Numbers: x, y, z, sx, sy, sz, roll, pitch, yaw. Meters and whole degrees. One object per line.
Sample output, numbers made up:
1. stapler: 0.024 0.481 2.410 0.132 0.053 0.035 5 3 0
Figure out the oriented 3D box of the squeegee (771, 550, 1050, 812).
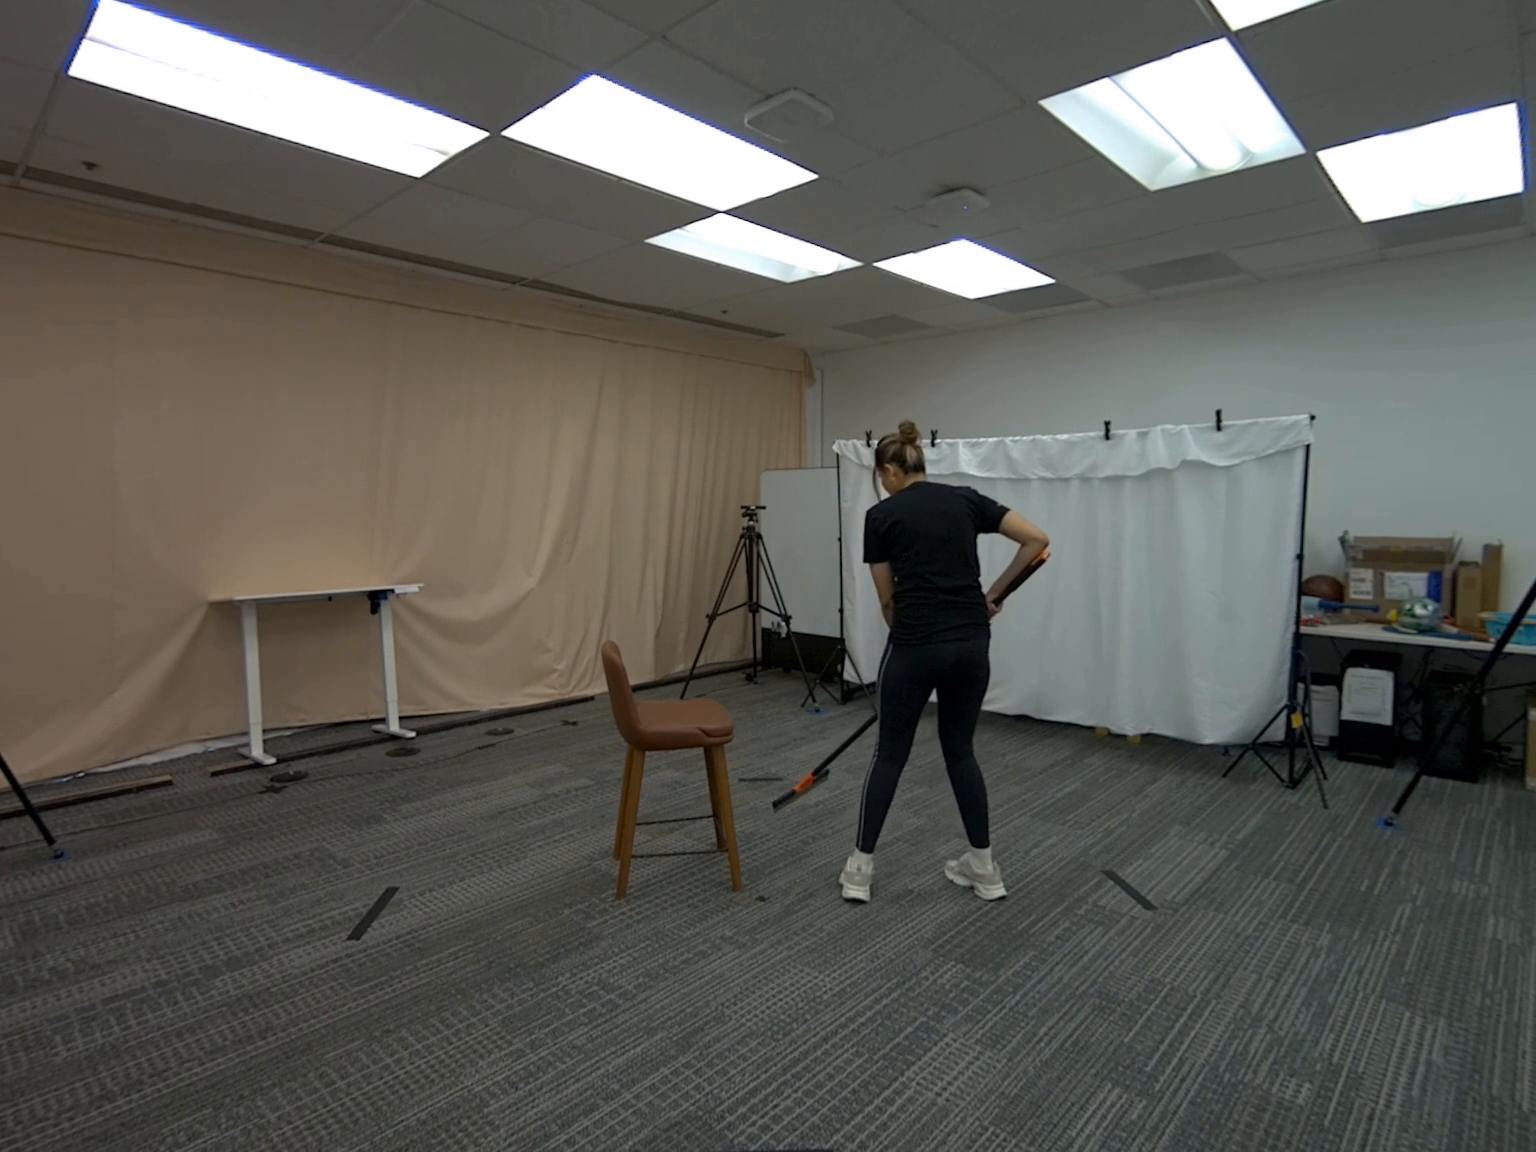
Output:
1. squeegee: 0.551 0.436 3.317 0.425 0.054 1.546 -11 -32 -53
